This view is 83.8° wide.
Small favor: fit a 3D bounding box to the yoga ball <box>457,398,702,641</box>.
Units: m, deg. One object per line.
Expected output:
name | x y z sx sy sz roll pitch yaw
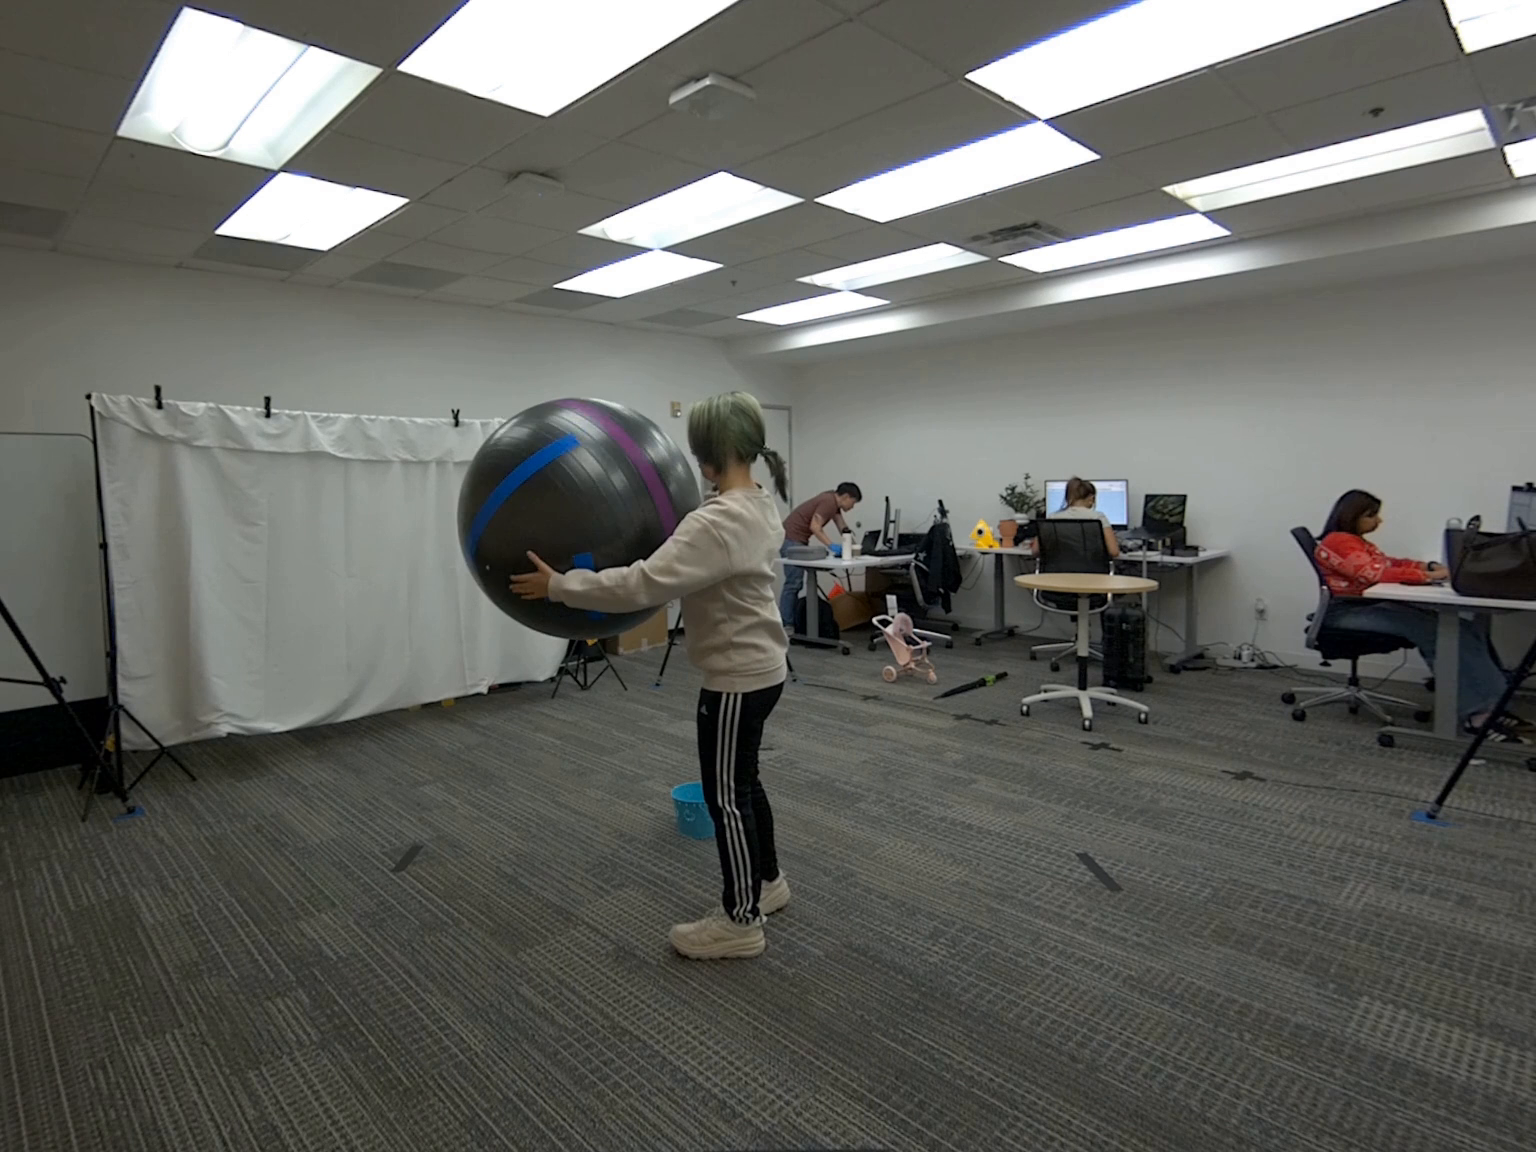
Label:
yoga ball | -0.589 -0.172 2.697 0.757 0.755 0.762 -1 5 -2
